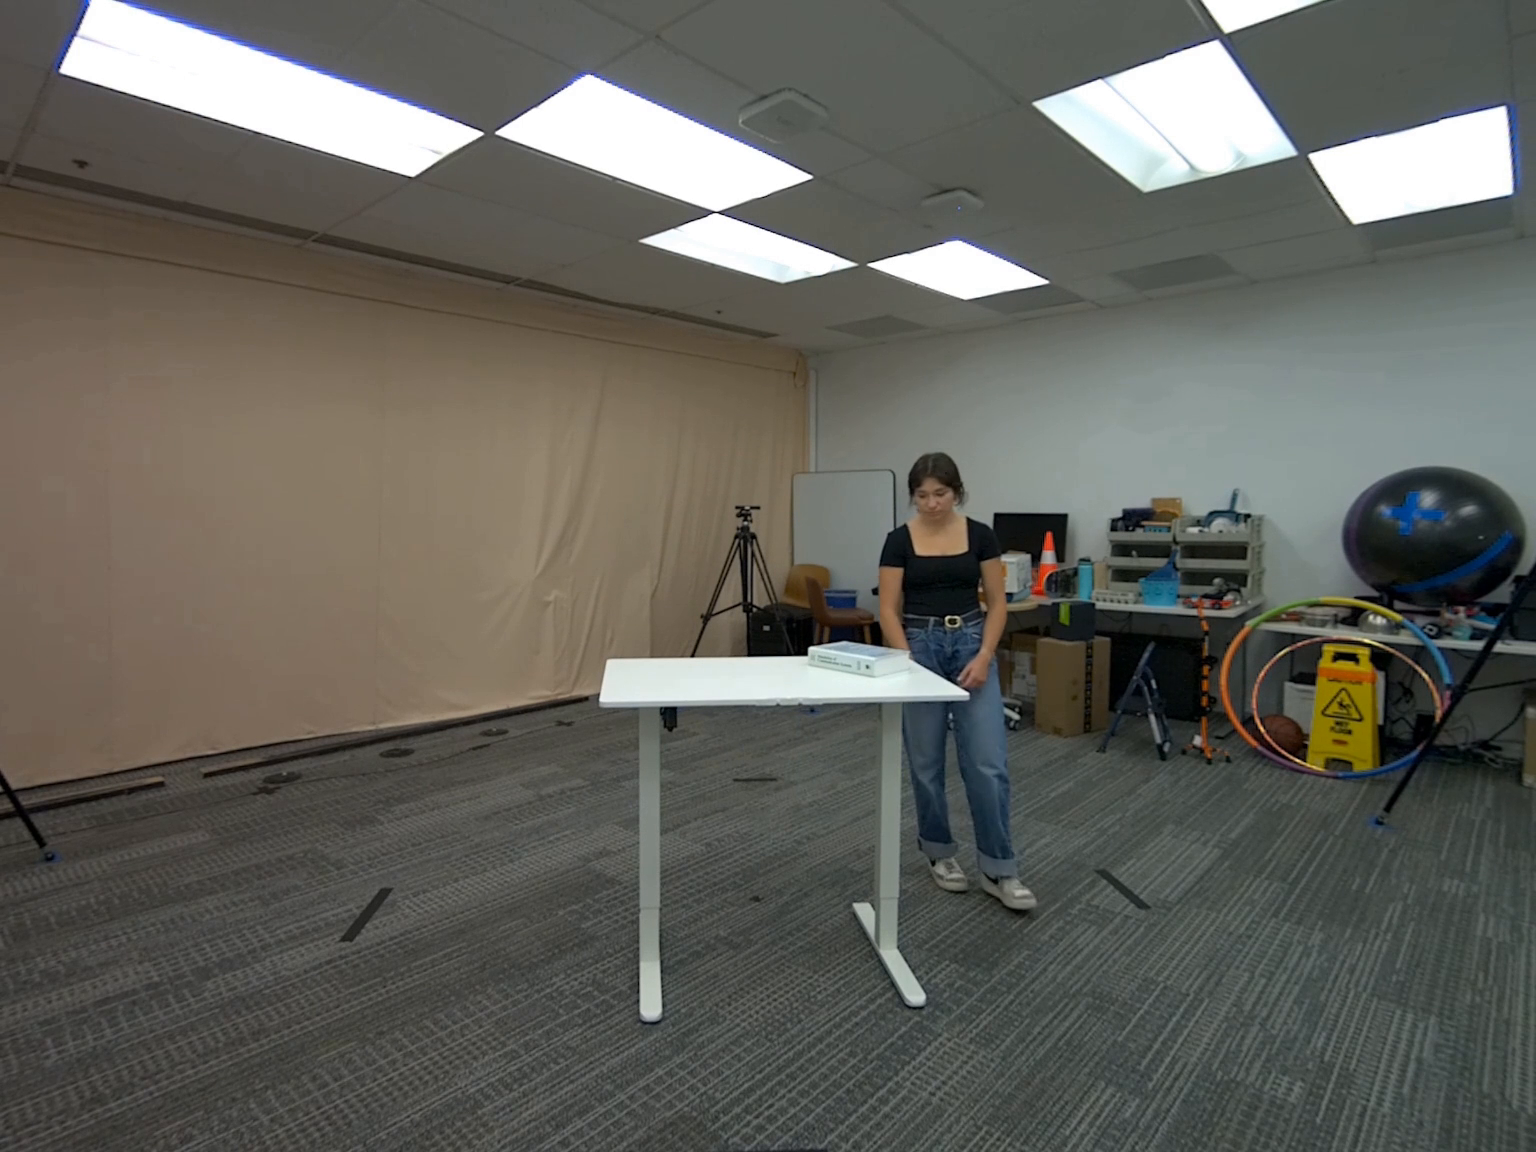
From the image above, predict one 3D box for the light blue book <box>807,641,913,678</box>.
[{"bbox_3d":[0.295,0.262,2.654,0.270,0.059,0.185,4,6,40],"label":"light blue book"}]
